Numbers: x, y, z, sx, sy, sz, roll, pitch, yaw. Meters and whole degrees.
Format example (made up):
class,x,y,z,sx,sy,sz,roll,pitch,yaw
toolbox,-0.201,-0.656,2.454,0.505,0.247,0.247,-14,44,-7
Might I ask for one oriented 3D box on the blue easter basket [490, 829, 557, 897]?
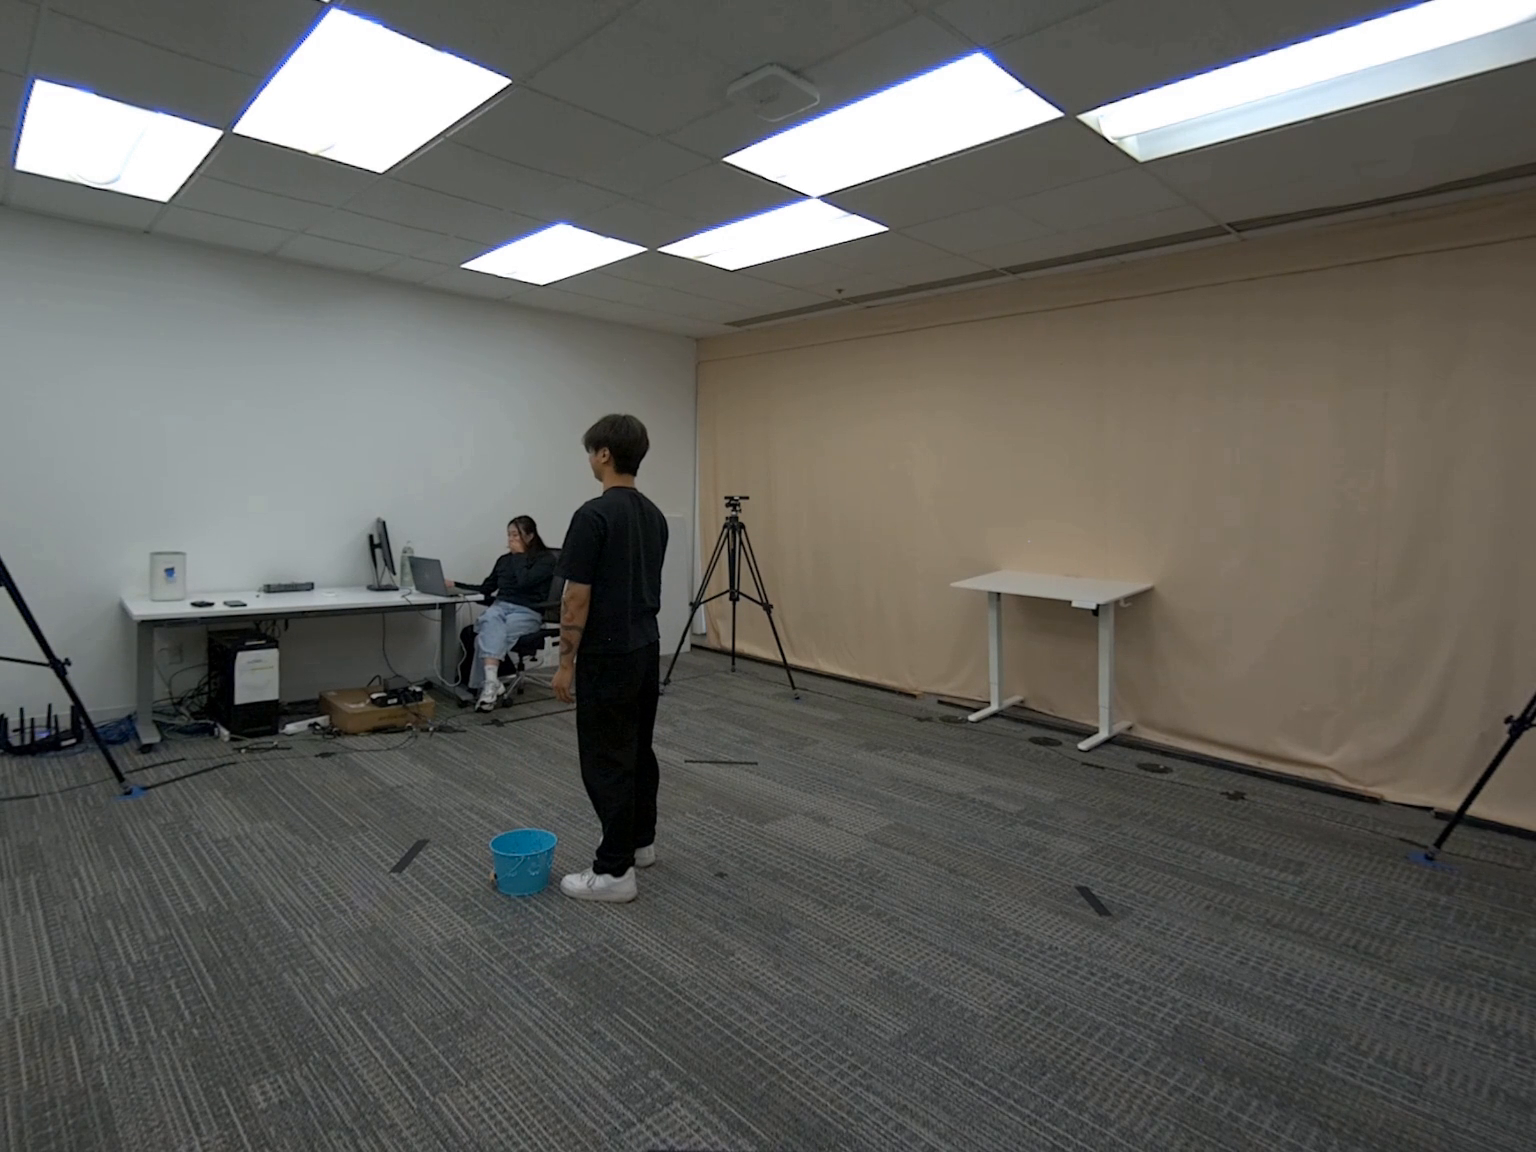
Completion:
class,x,y,z,sx,sy,sz,roll,pitch,yaw
blue easter basket,-0.868,1.017,2.994,0.243,0.155,0.244,1,5,-1
